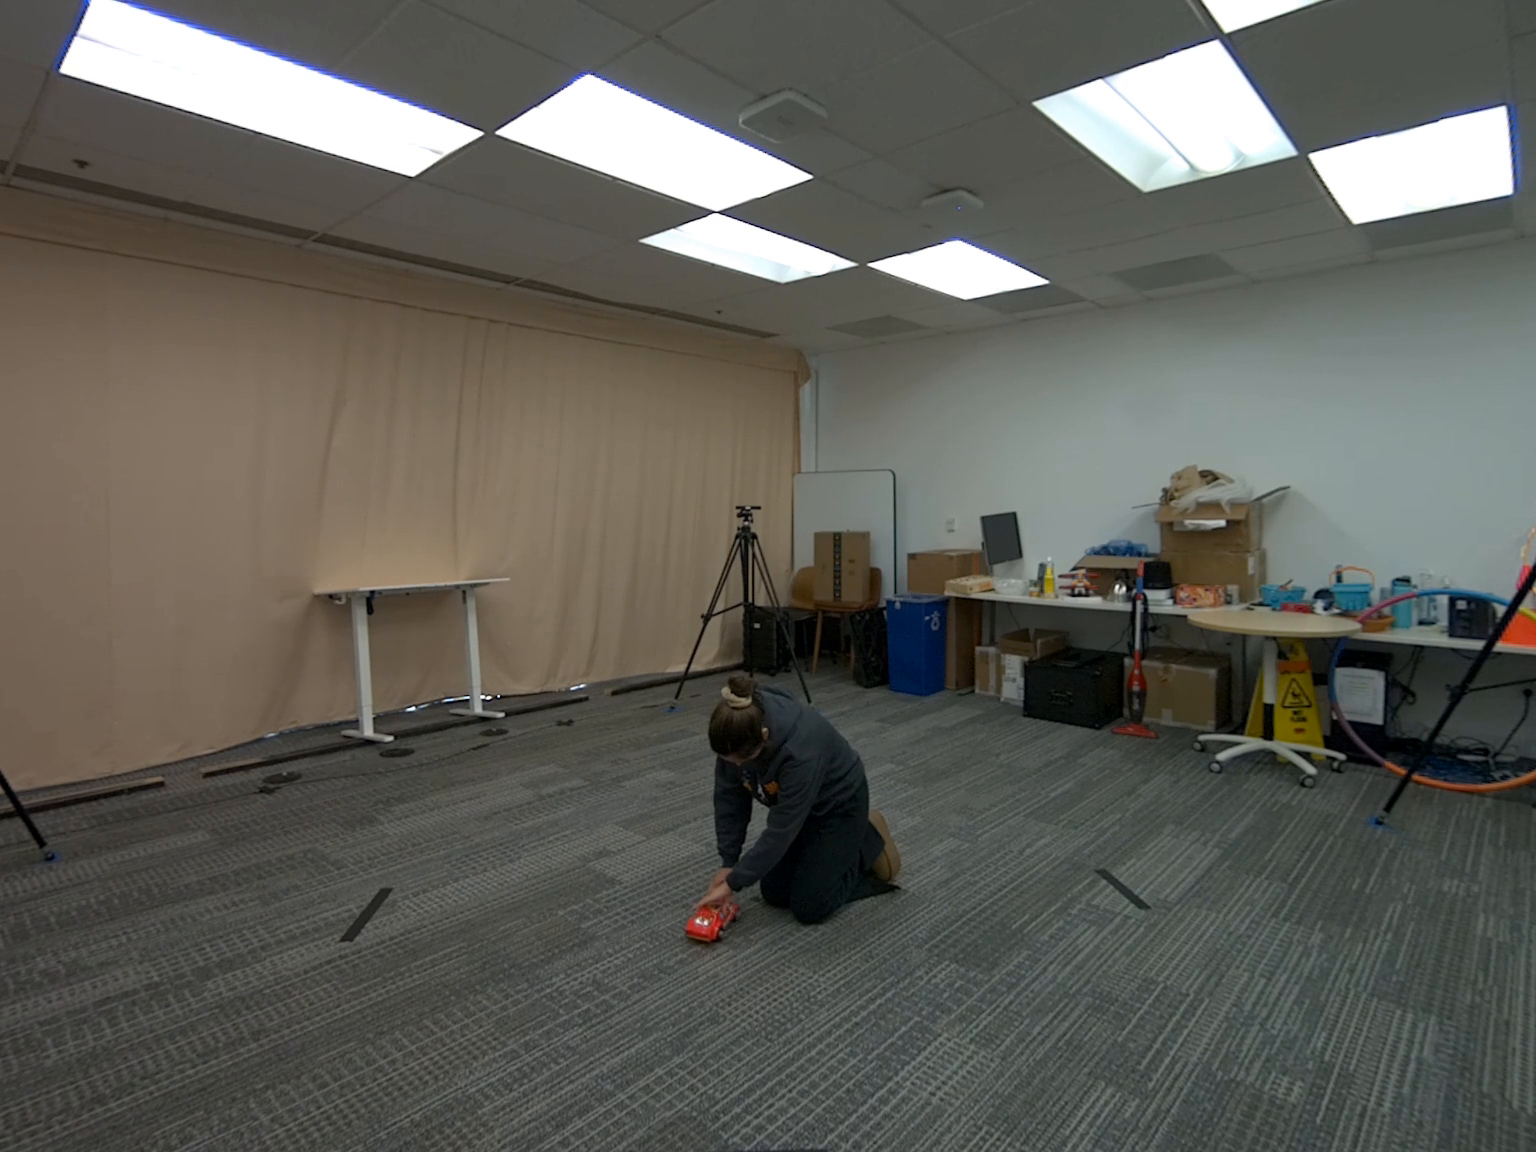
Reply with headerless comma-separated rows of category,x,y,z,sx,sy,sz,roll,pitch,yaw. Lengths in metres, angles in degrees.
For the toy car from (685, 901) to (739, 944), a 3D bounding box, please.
toy car,-0.158,1.130,2.754,0.133,0.083,0.247,0,-9,24
